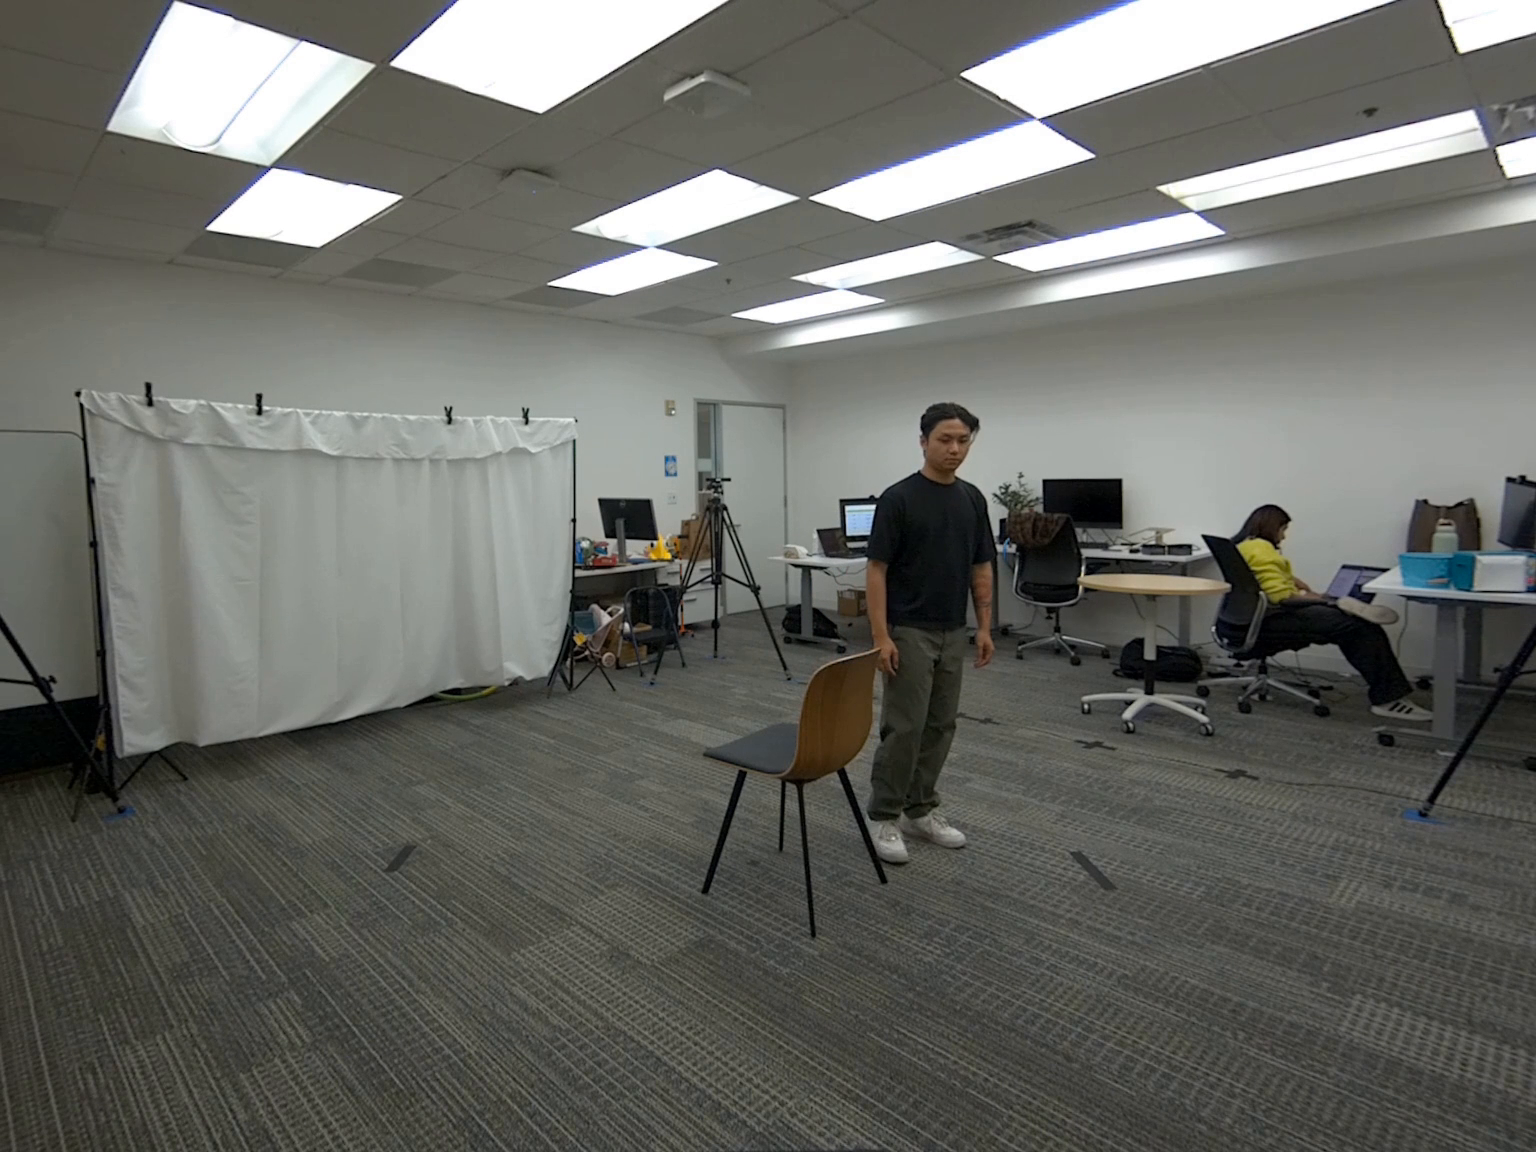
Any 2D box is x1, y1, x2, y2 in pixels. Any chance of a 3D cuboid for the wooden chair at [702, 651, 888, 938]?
[{"bbox_3d":[0.081,0.638,2.877,0.540,0.872,0.466,8,9,38],"label":"wooden chair"}]
